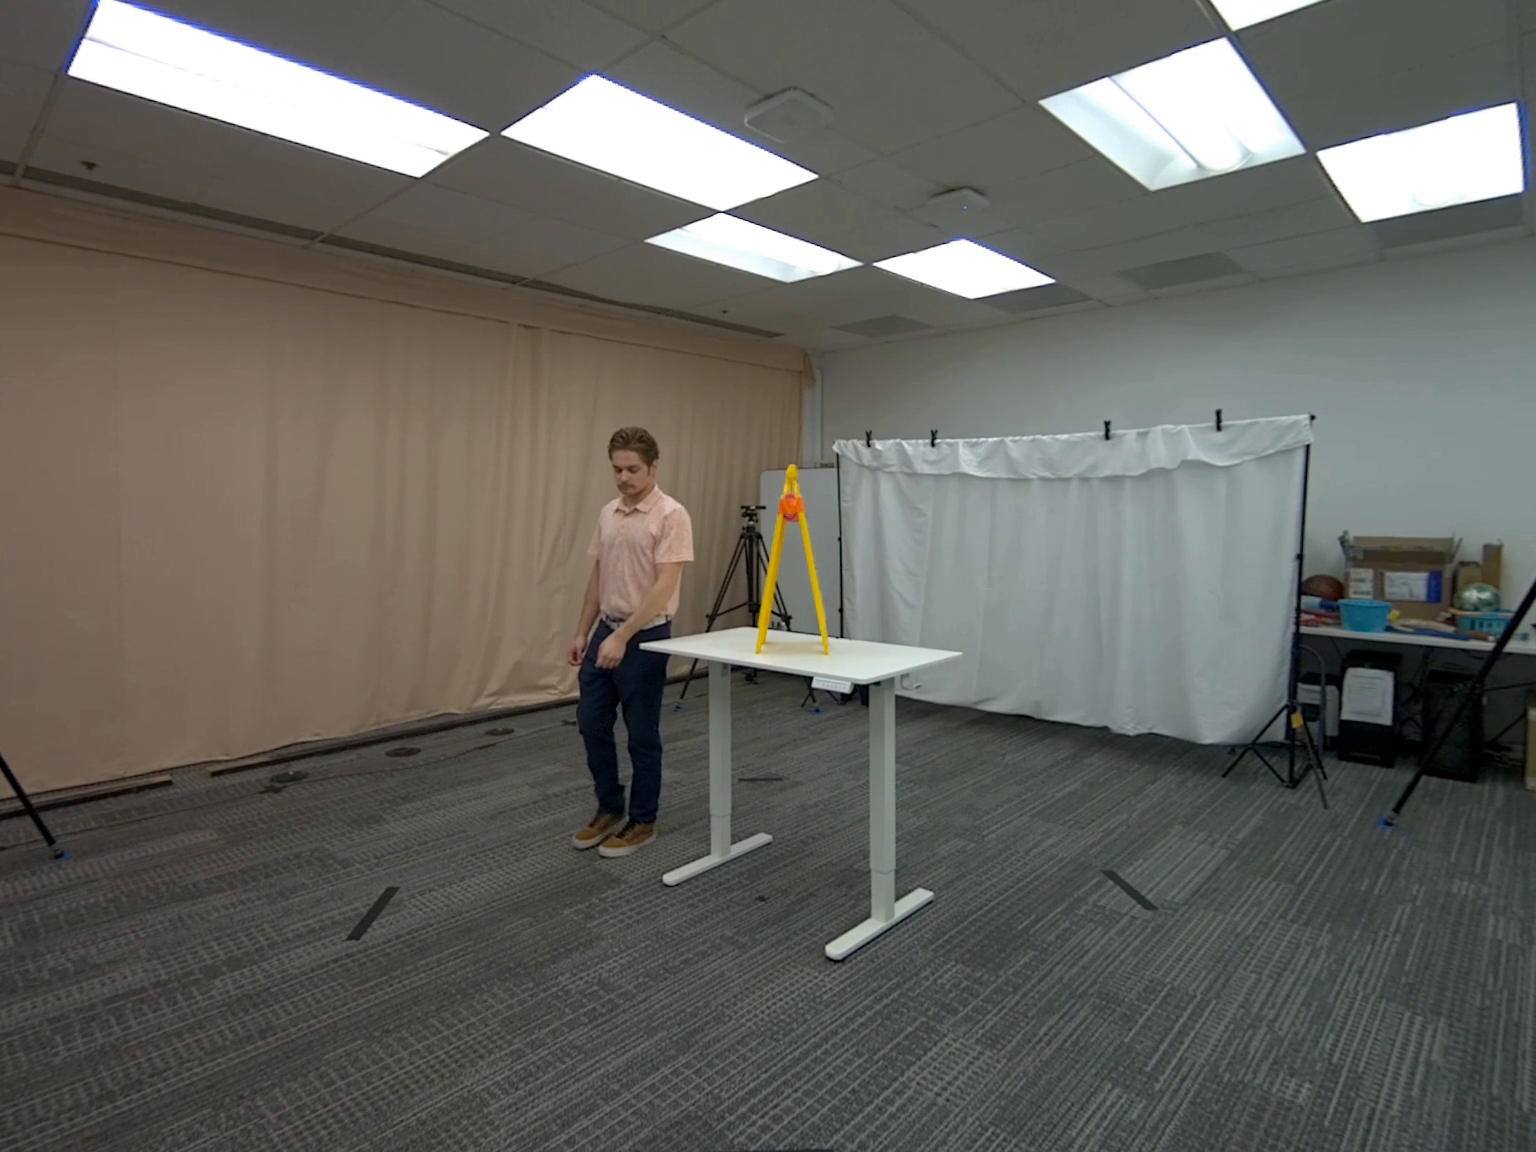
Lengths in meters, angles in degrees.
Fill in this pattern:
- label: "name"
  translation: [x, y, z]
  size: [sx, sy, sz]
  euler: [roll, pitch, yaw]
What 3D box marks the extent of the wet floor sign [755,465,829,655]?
- label: "wet floor sign"
  translation: [0.091, -0.065, 3.000]
  size: [0.291, 0.645, 0.281]
  euler: [-1, 1, 4]
